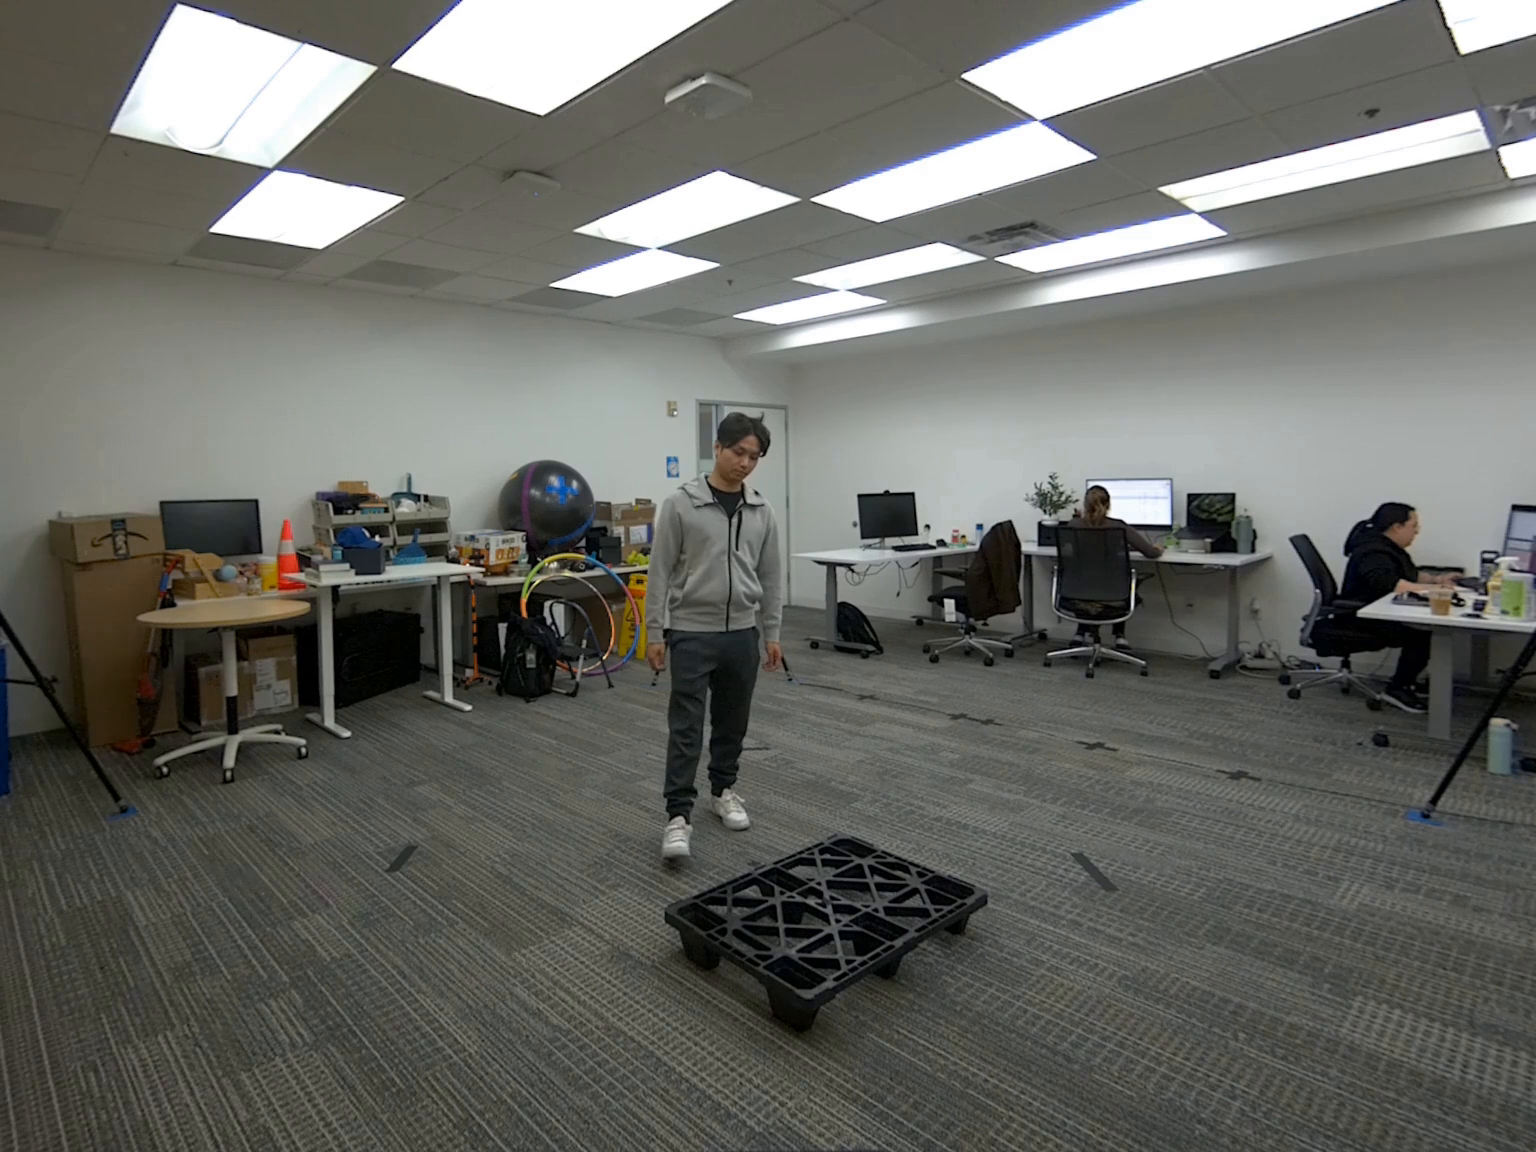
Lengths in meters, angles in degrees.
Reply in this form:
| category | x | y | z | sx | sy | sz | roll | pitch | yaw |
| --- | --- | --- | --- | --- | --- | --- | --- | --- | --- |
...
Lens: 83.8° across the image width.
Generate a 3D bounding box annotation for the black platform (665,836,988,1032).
| category | x | y | z | sx | sy | sz | roll | pitch | yaw |
| --- | --- | --- | --- | --- | --- | --- | --- | --- | --- |
| black platform | 0.178 | 1.038 | 2.562 | 0.785 | 0.142 | 0.624 | -7 | 9 | -42 |
